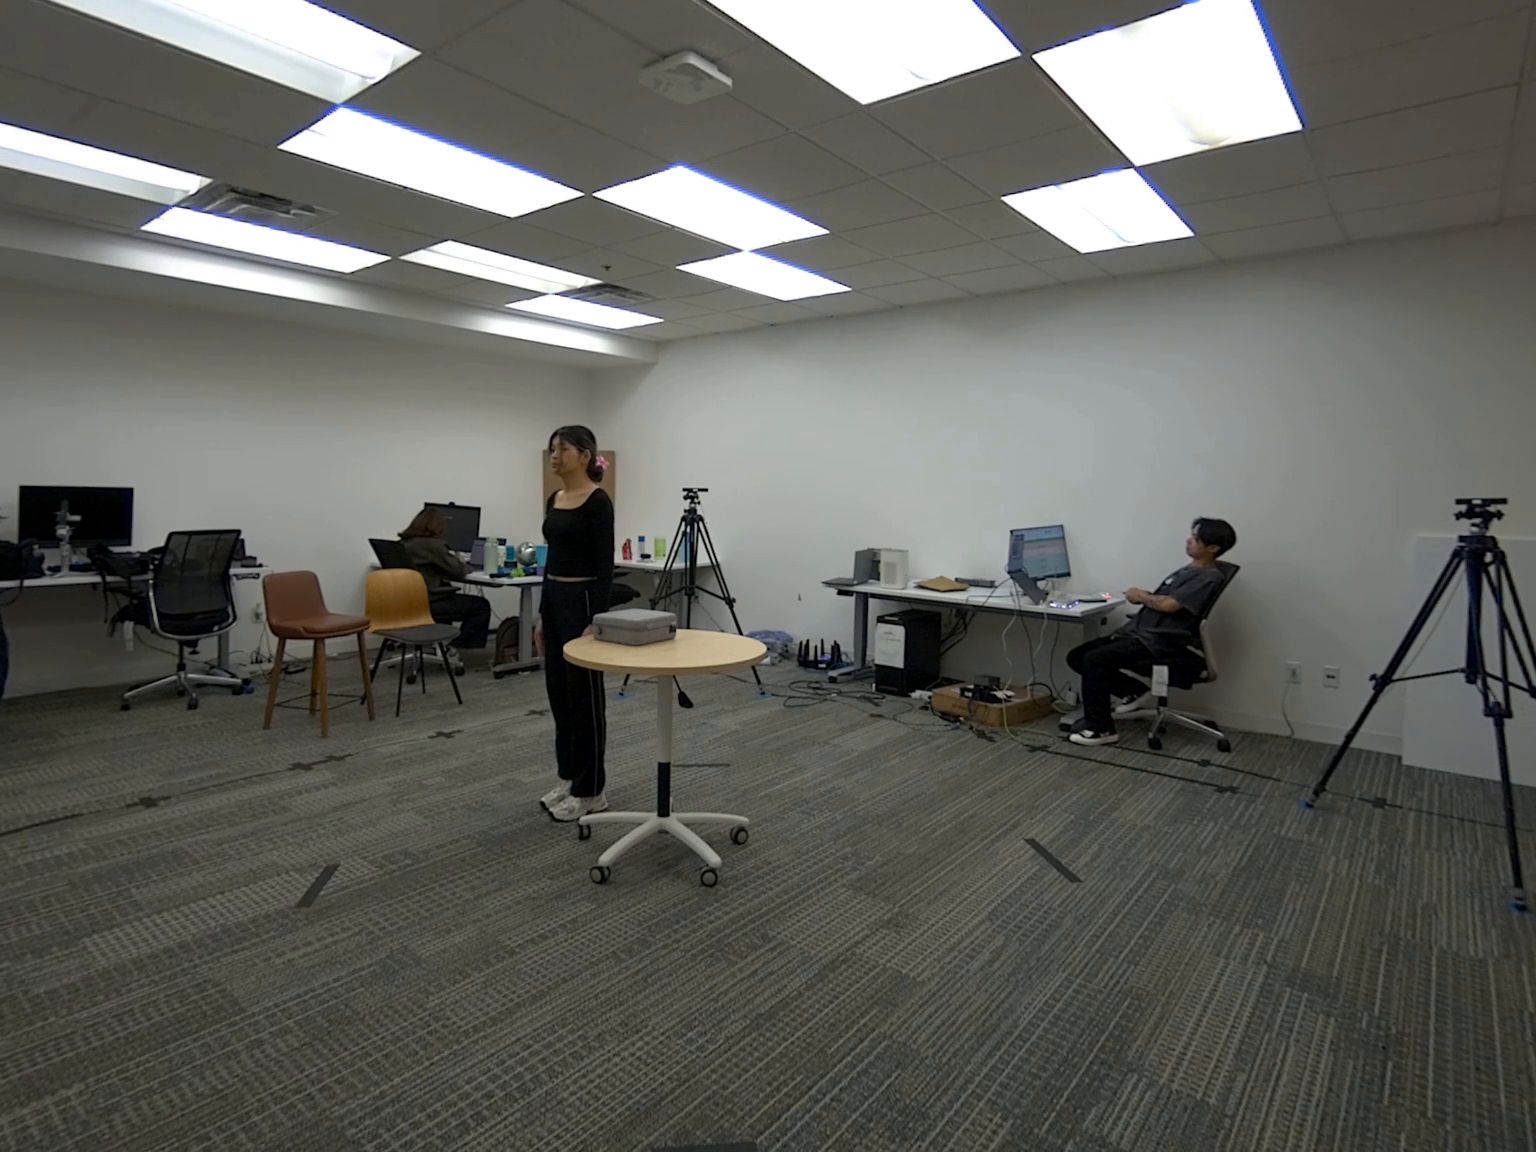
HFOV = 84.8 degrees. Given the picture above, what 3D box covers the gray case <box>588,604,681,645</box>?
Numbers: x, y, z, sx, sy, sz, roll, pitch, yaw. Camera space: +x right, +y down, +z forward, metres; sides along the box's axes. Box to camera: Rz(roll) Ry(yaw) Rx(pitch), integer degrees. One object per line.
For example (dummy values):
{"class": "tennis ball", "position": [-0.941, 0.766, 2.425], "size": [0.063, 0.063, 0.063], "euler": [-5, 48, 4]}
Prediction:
{"class": "gray case", "position": [-0.535, 0.188, 3.356], "size": [0.269, 0.104, 0.250], "euler": [3, 7, 37]}
